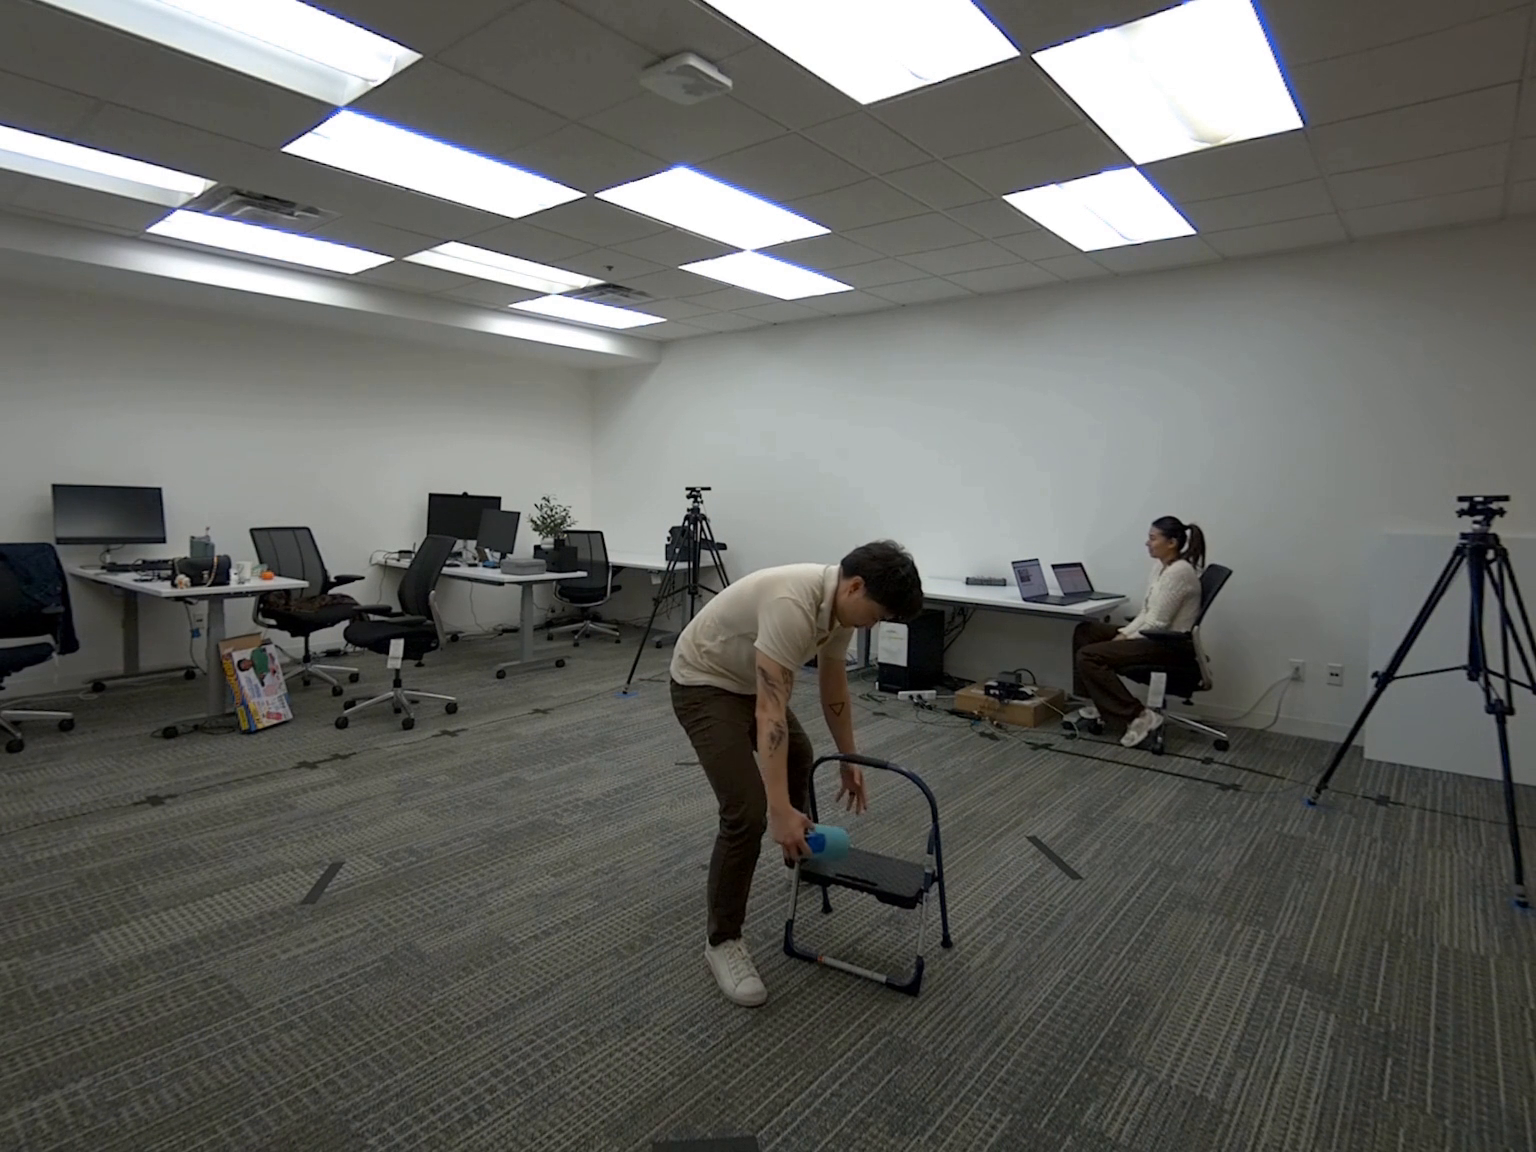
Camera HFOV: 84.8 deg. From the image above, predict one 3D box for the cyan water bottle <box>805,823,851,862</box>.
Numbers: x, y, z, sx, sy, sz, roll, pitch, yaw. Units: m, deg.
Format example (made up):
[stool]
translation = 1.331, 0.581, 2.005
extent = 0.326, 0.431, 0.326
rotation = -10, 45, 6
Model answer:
[cyan water bottle]
translation = 0.114, 0.687, 2.261
extent = 0.095, 0.093, 0.272
rotation = 3, -17, 30
